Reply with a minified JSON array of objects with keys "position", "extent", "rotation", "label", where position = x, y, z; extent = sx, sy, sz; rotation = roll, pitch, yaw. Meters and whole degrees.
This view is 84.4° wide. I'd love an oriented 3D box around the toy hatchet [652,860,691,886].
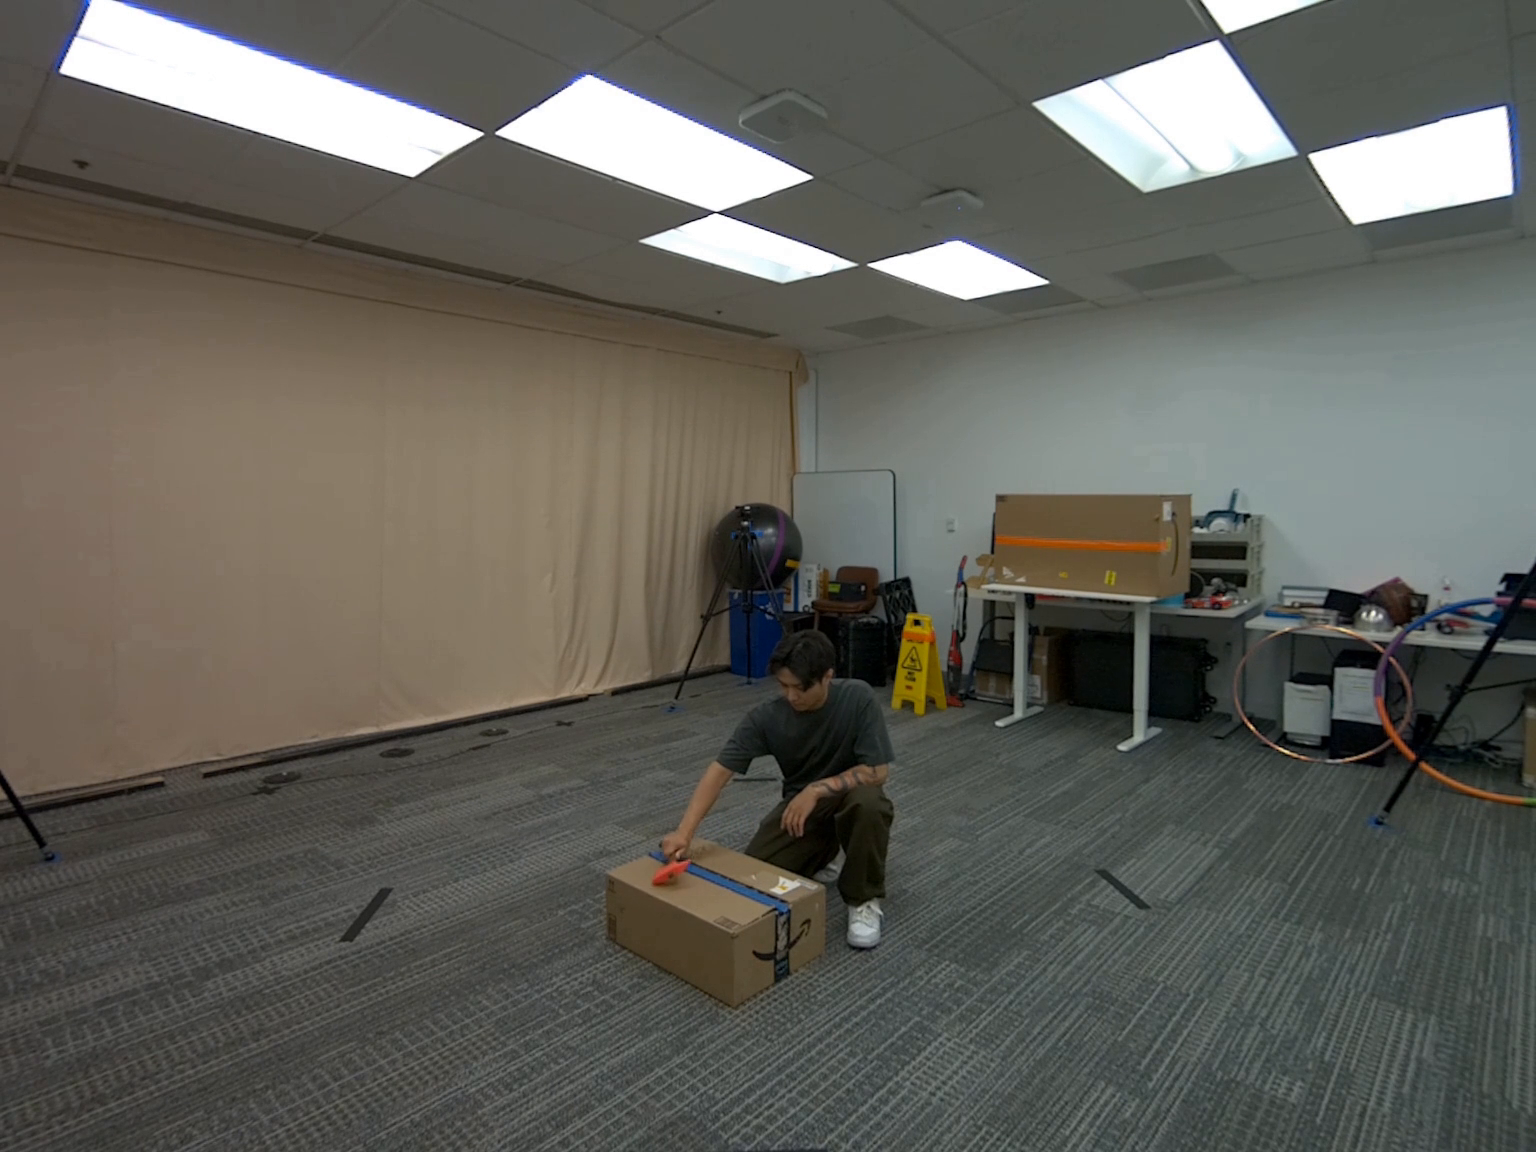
[{"position":[-0.322,0.922,2.723],"extent":[0.130,0.029,0.274],"rotation":[-34,8,-17],"label":"toy hatchet"}]
